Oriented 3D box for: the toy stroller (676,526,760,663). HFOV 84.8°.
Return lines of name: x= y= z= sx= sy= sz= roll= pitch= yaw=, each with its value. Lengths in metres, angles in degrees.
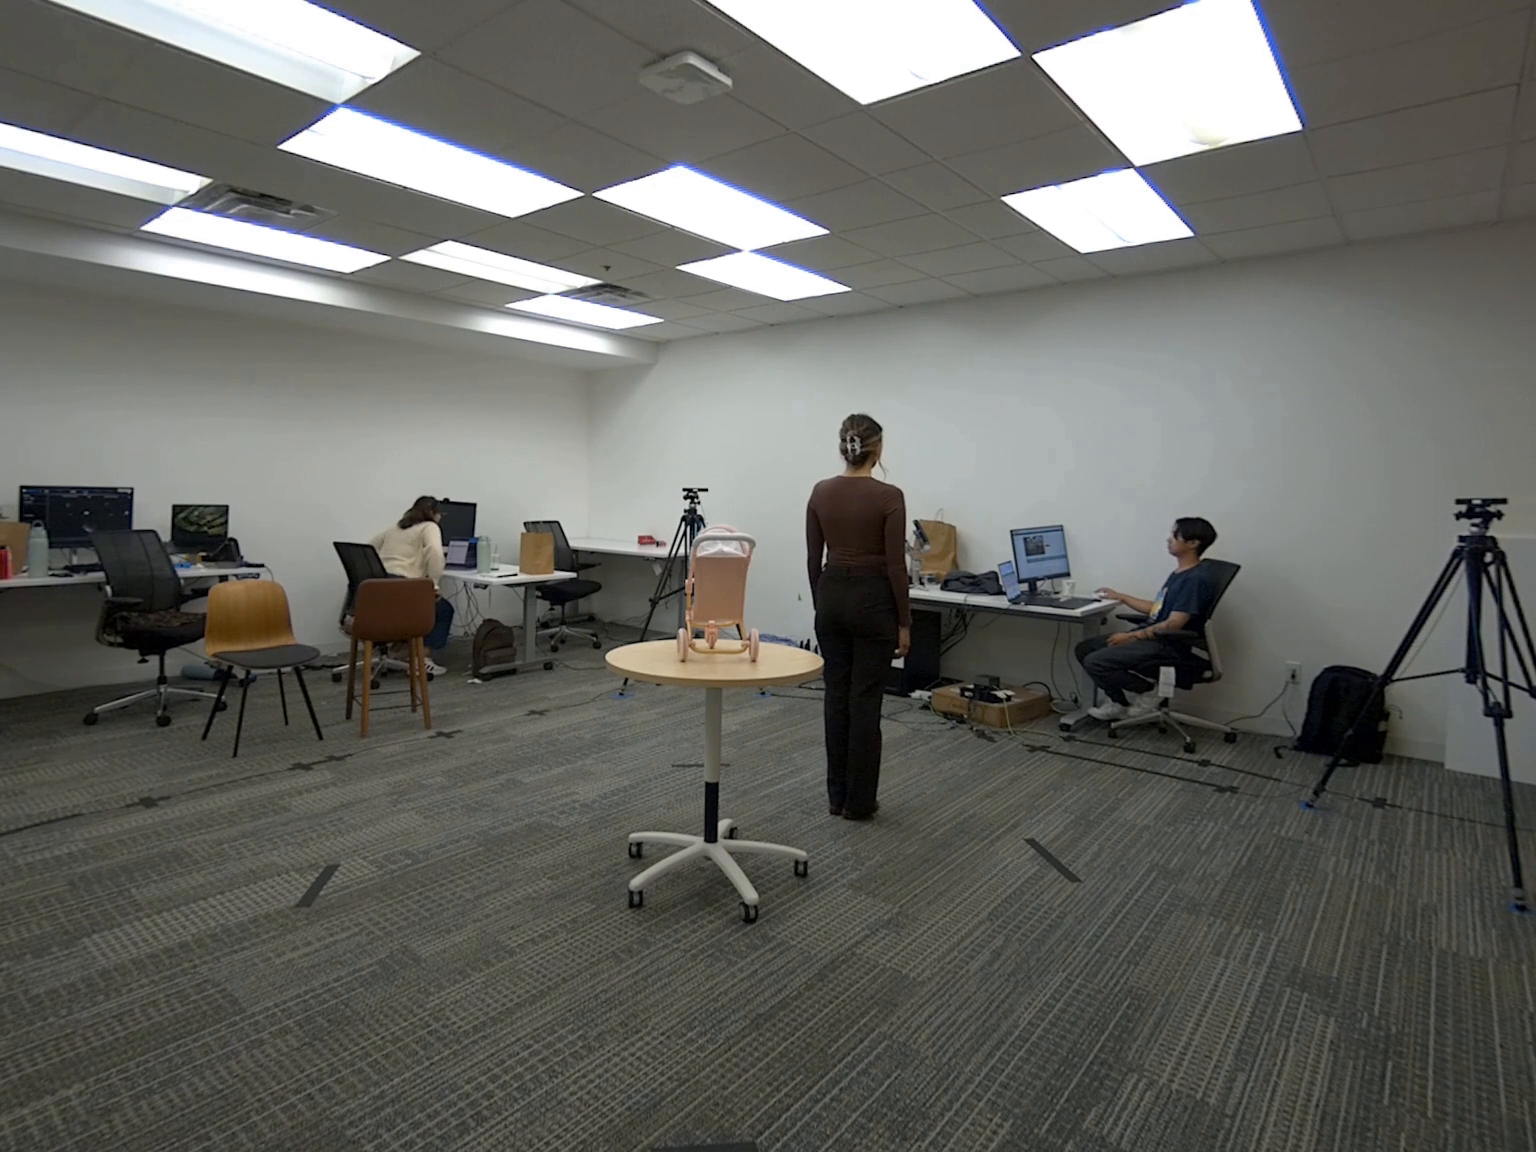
toy stroller: x=-0.184 y=0.058 z=2.987 sx=0.280 sy=0.527 sz=0.348 roll=1 pitch=17 yaw=-6
